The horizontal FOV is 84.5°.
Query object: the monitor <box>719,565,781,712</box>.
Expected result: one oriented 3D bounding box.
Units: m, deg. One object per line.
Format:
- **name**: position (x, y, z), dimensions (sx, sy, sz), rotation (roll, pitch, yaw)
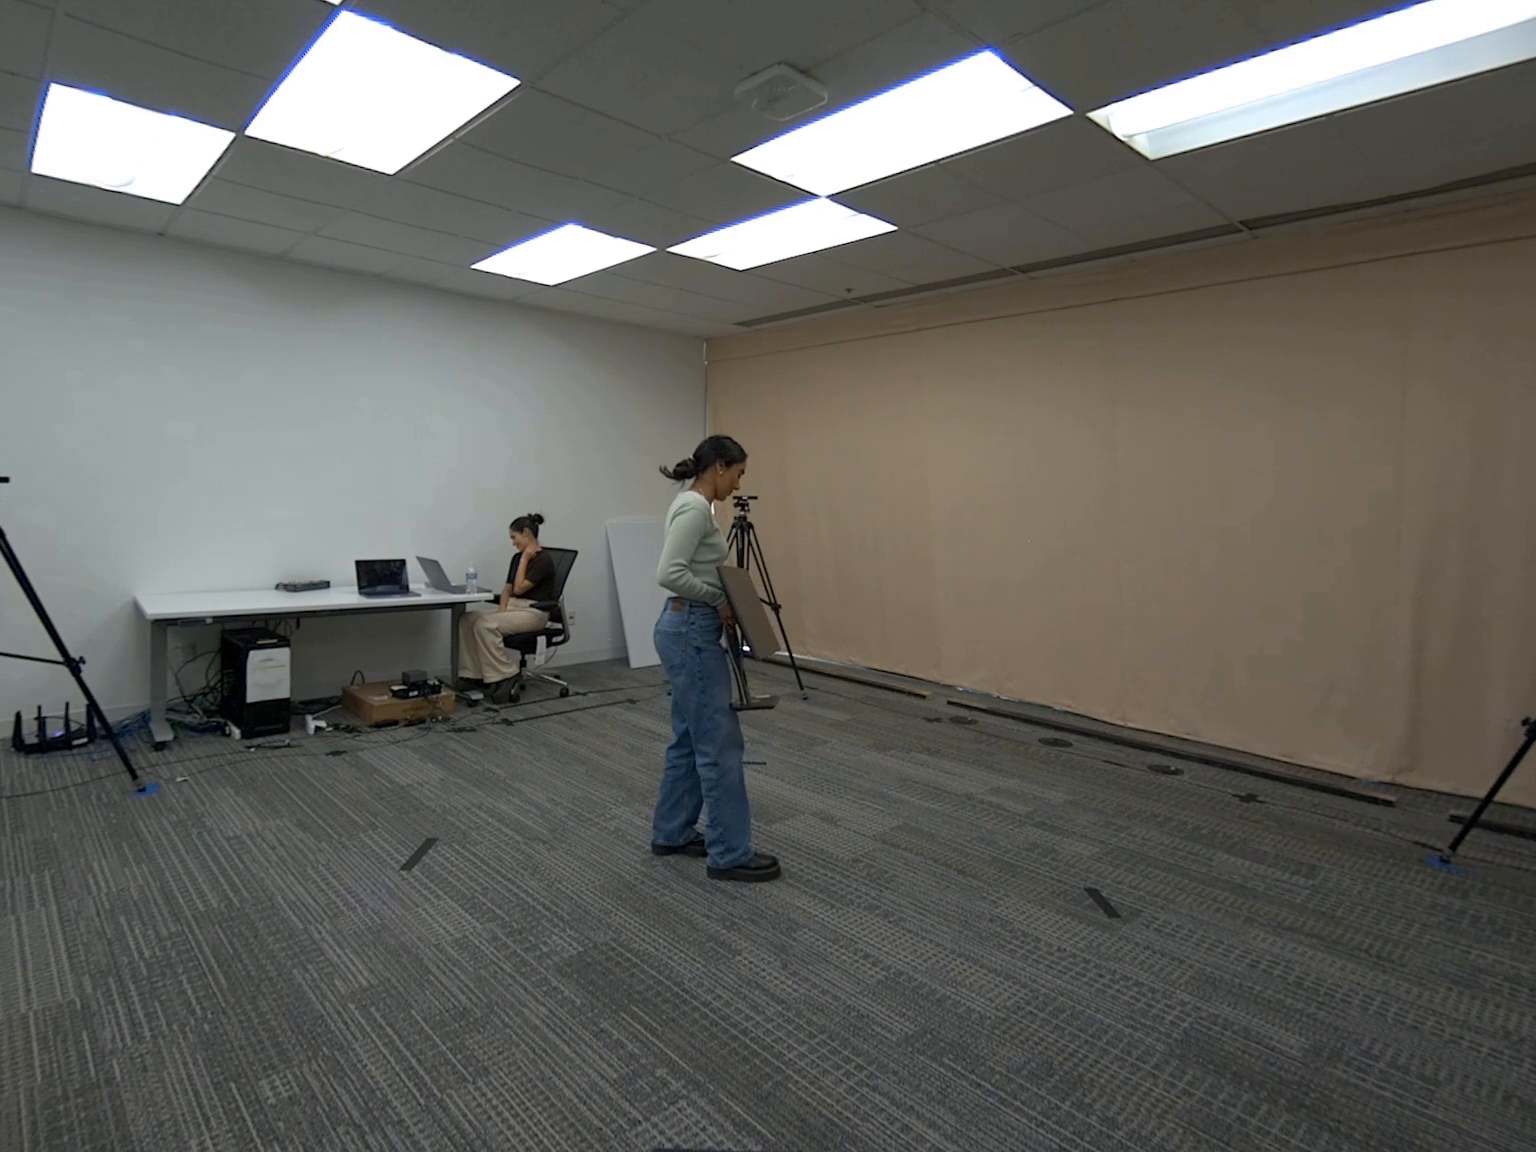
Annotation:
- **monitor**: position (-0.086, 0.217, 3.104), dimensions (0.176, 0.517, 0.525), rotation (-3, -2, 7)
